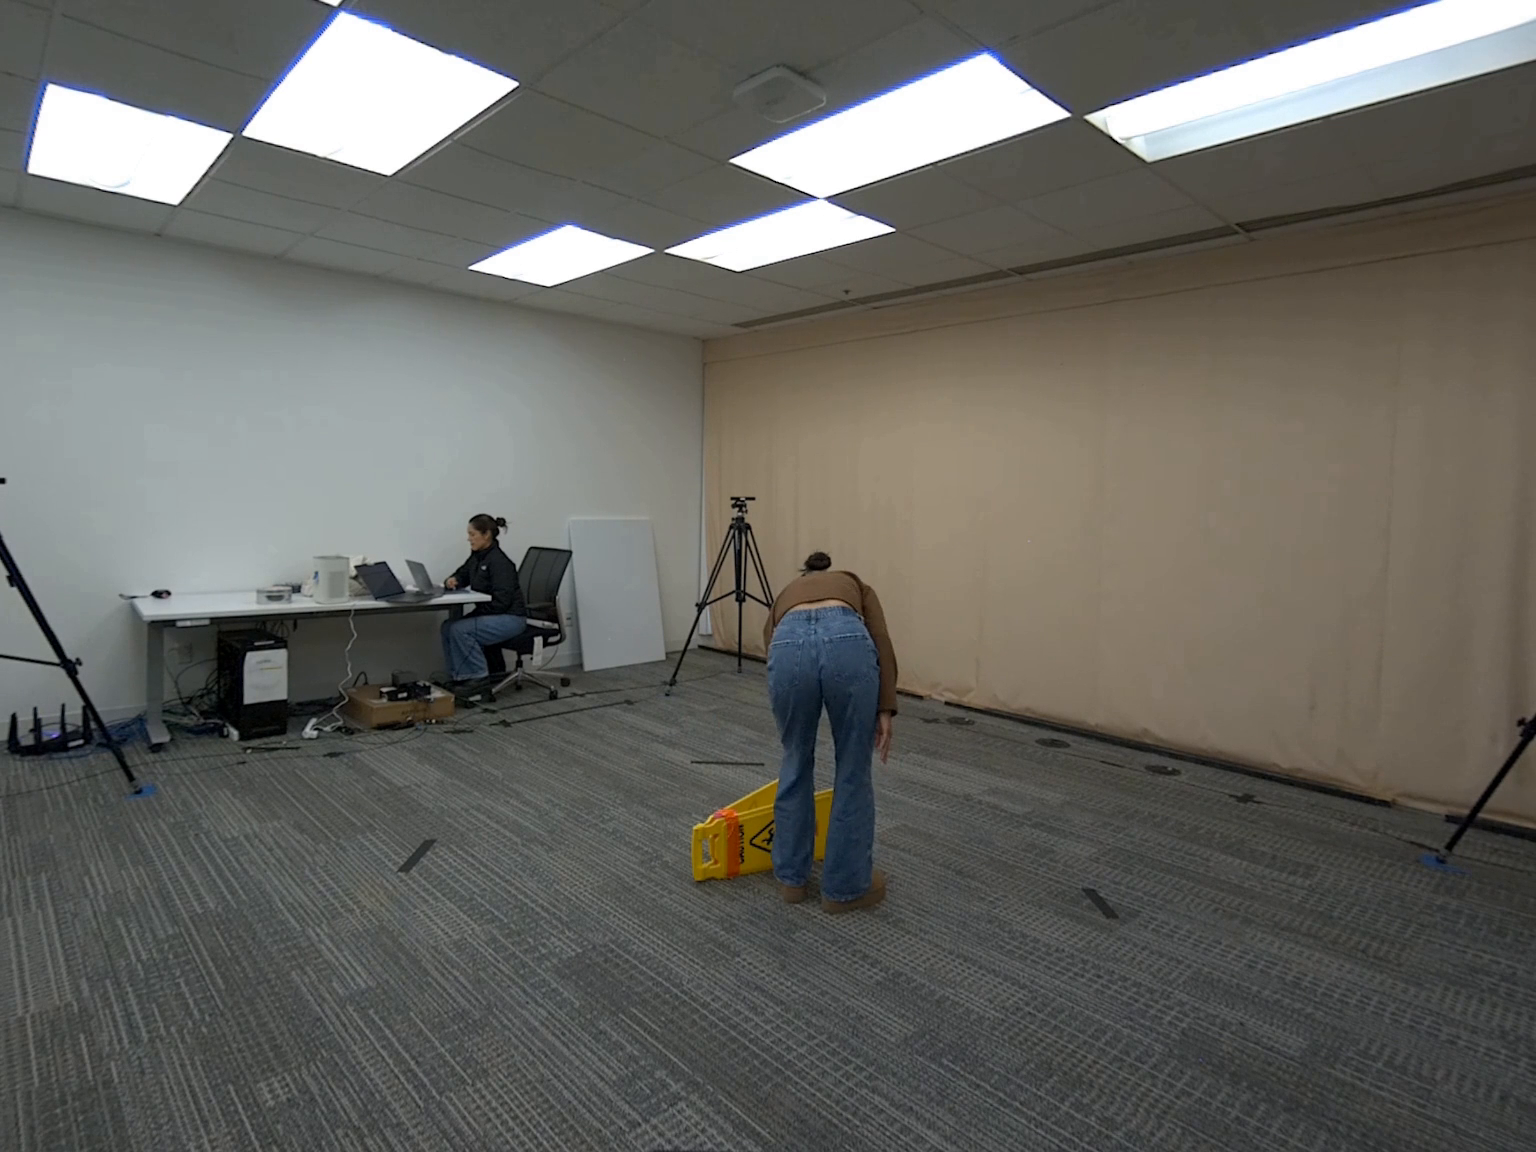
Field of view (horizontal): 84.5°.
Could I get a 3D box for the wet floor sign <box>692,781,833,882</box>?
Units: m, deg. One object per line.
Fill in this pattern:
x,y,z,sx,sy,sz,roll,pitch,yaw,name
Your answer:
-0.021,0.972,3.218,0.632,0.281,0.297,-6,7,-39,wet floor sign
